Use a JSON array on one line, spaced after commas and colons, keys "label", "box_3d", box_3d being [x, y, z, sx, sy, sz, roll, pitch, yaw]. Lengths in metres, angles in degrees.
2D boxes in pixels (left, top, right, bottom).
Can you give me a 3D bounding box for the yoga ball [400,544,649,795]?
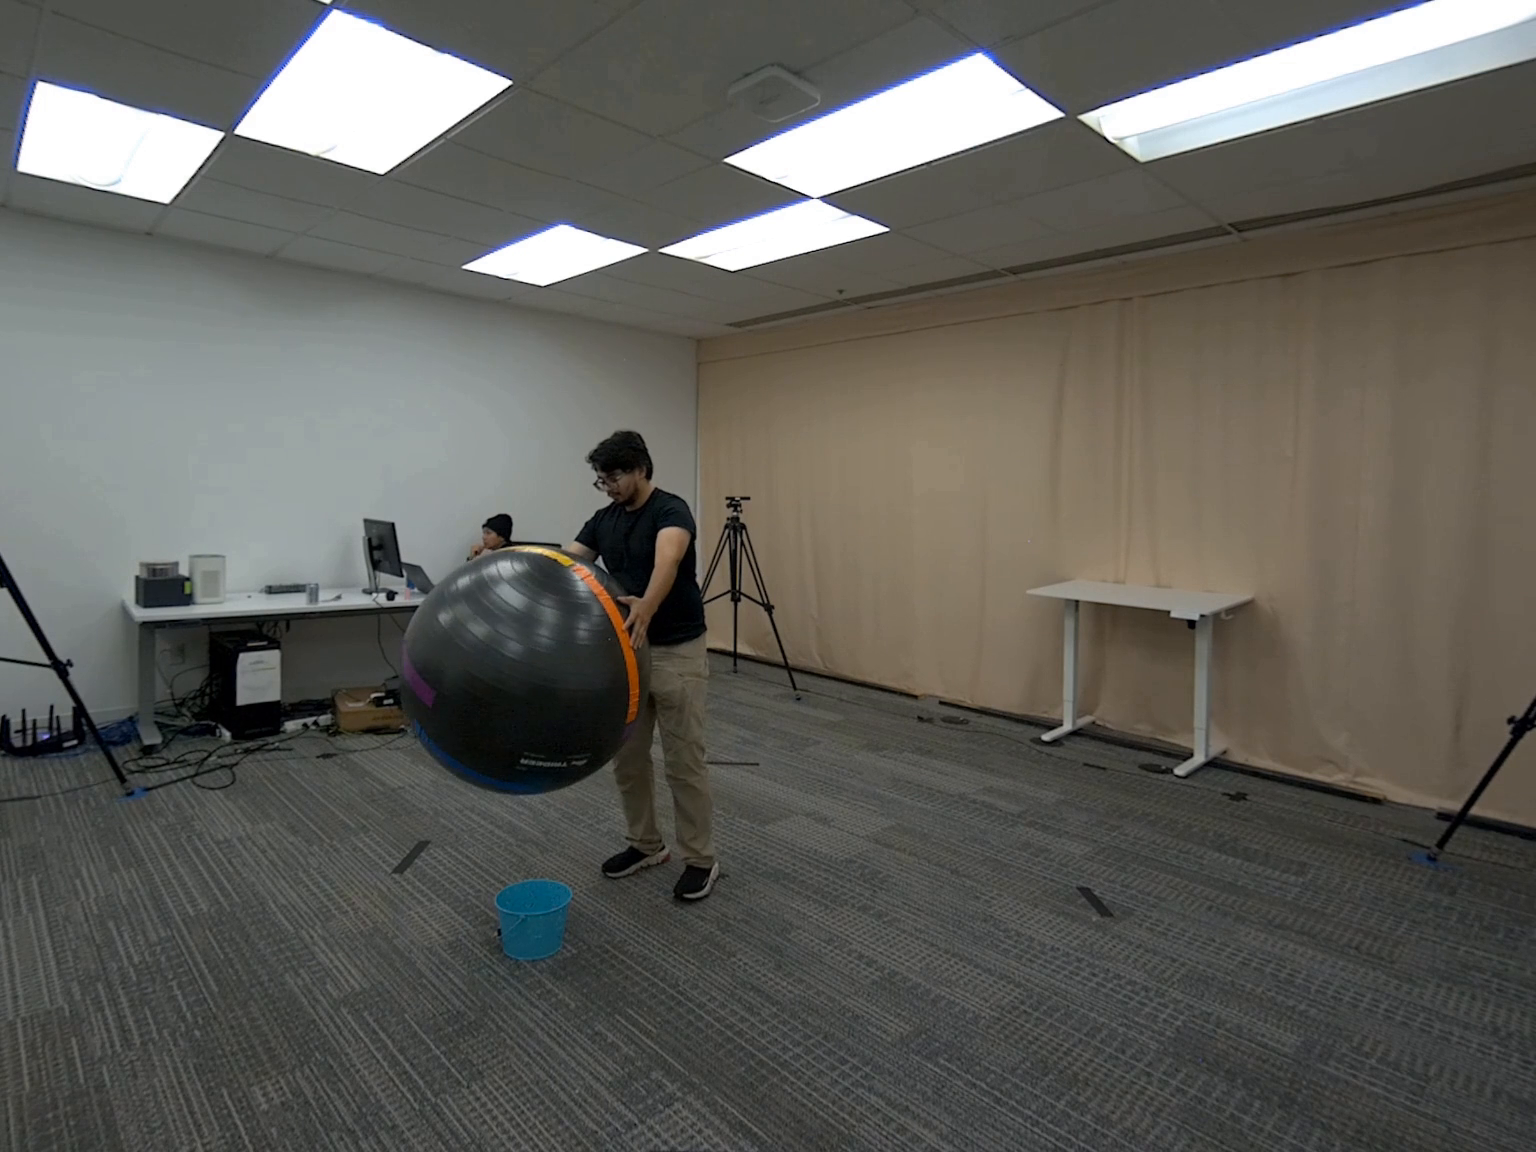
[{"label": "yoga ball", "box_3d": [-0.750, 0.295, 2.612, 0.757, 0.756, 0.761, 1, 4, -1]}]
